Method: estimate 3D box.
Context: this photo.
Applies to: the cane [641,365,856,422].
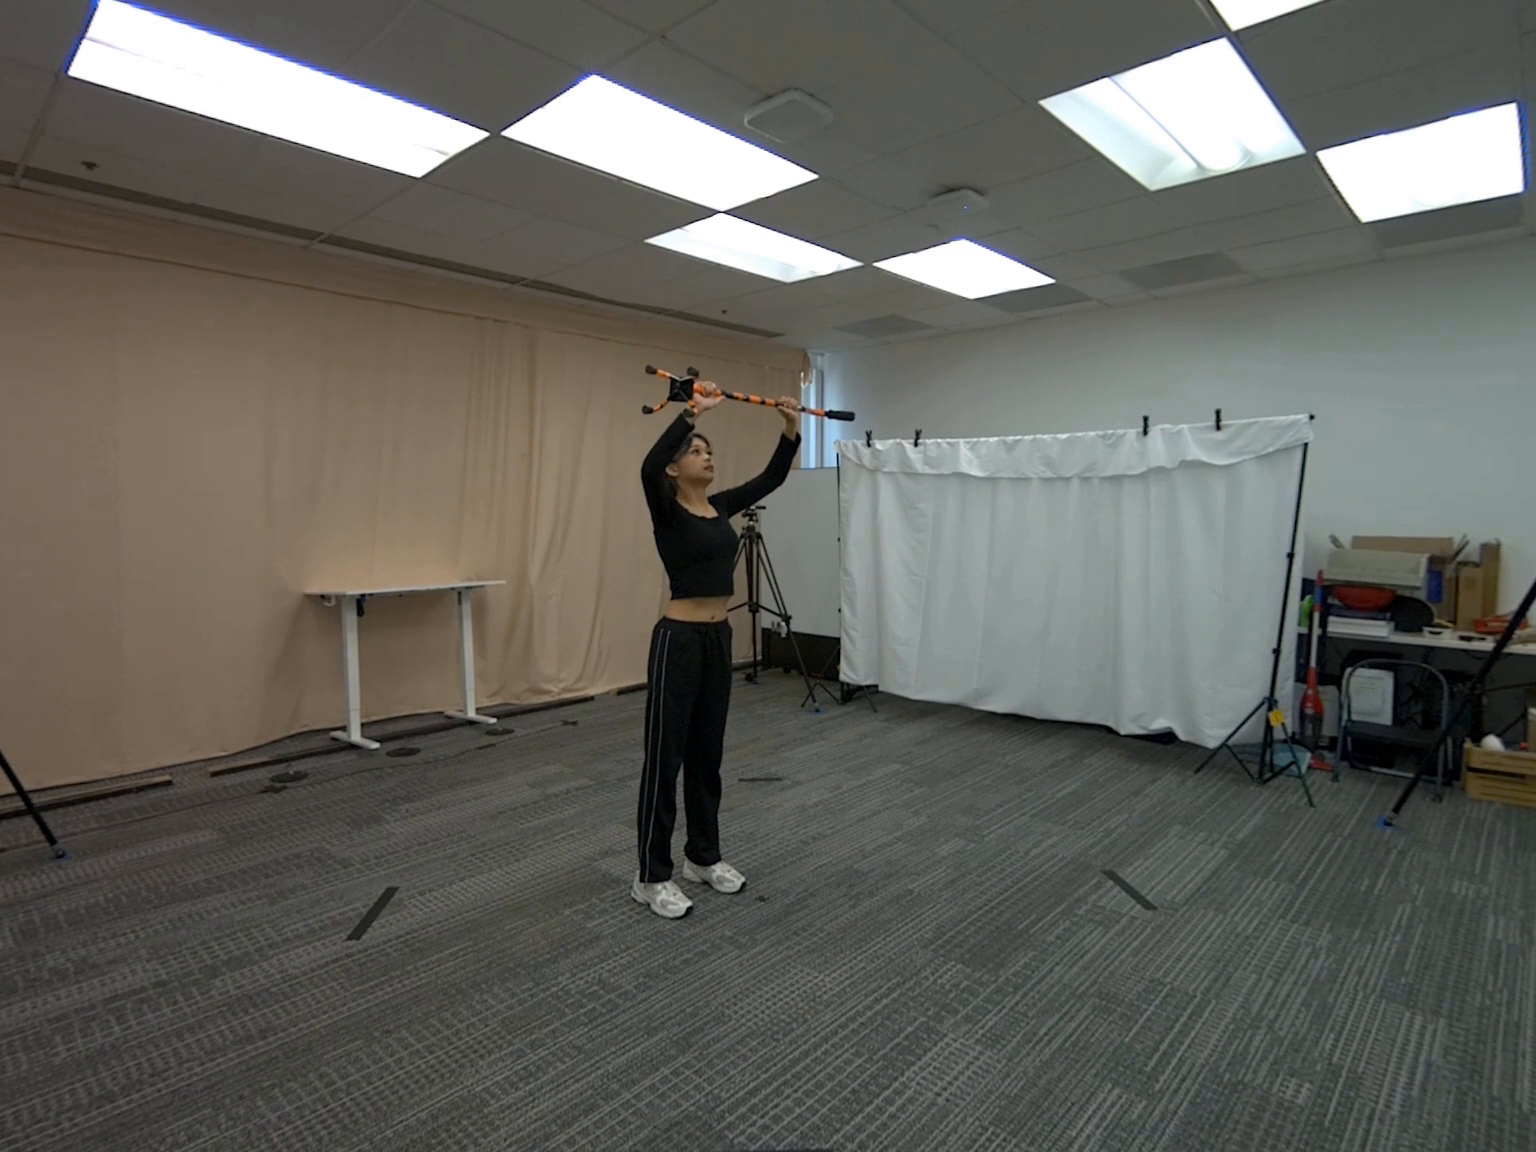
[{"bbox_3d":[-0.023,-0.583,2.877,0.214,0.151,0.880,12,11,39],"label":"cane"}]
